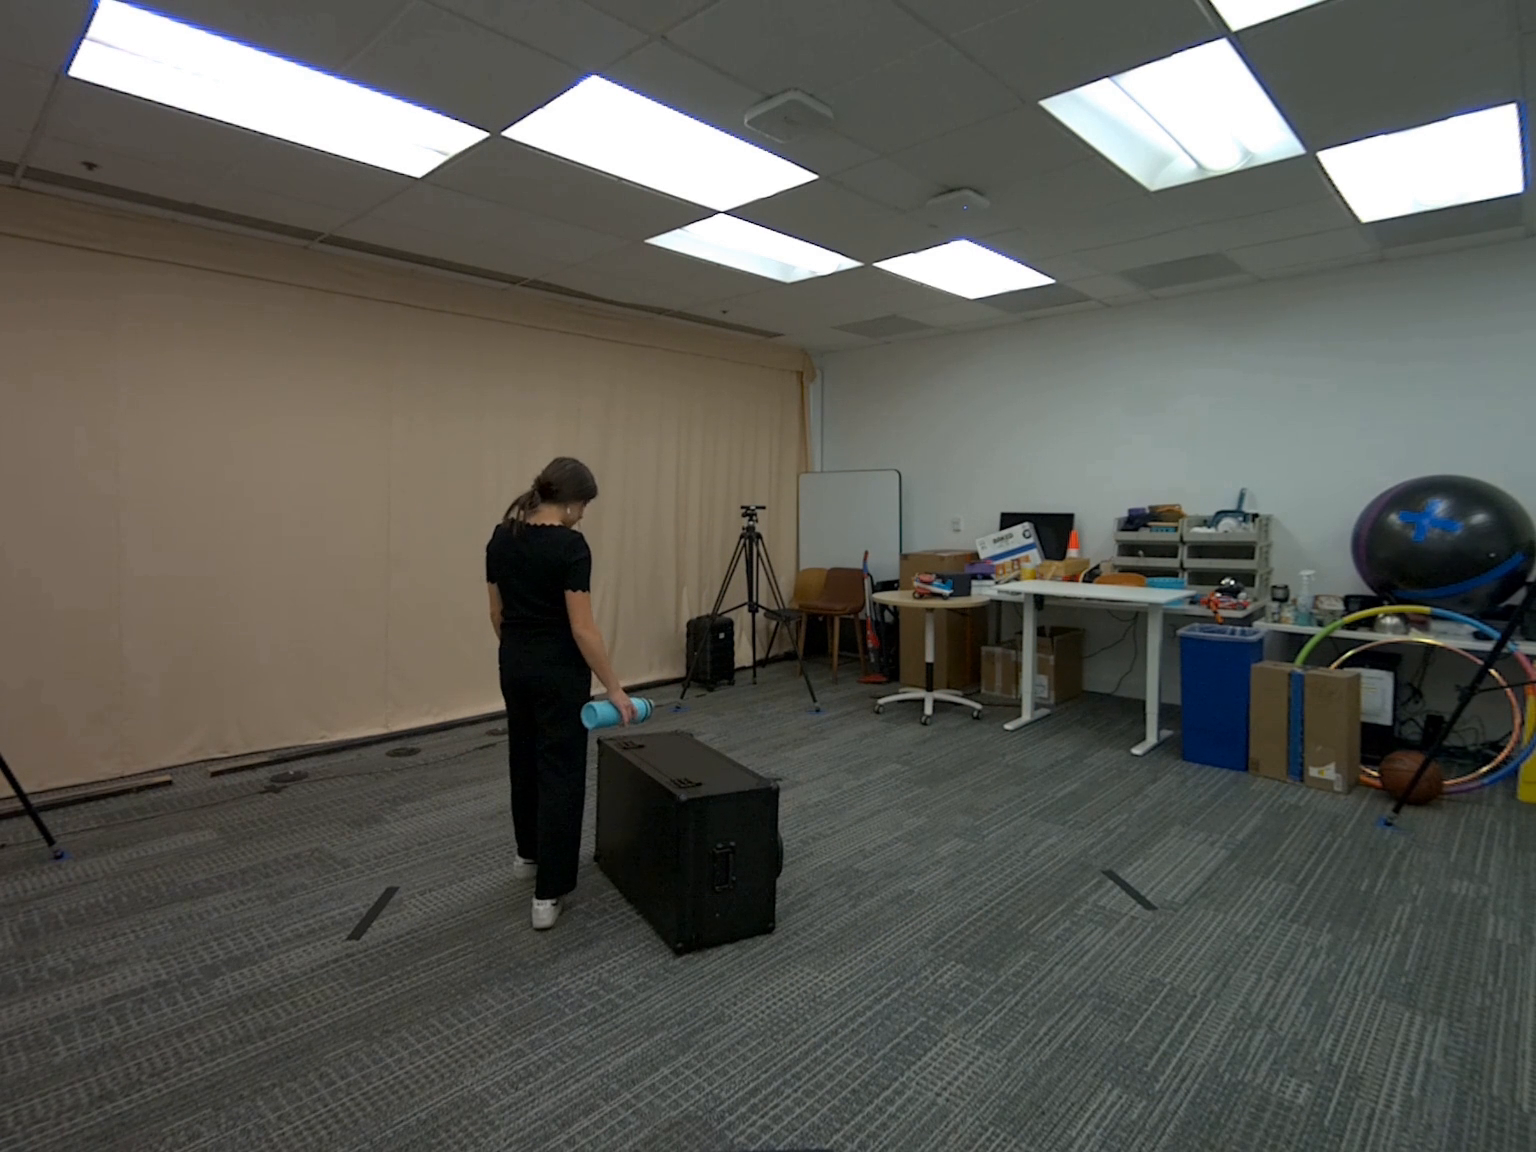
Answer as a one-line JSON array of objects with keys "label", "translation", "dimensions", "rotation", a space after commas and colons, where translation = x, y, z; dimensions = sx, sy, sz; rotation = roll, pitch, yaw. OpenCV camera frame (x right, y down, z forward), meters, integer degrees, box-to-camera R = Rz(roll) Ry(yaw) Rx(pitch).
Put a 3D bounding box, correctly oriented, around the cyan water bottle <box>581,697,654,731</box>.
[{"label": "cyan water bottle", "translation": [-0.519, 0.474, 2.925], "dimensions": [0.095, 0.092, 0.274], "rotation": [3, 1, 42]}]
